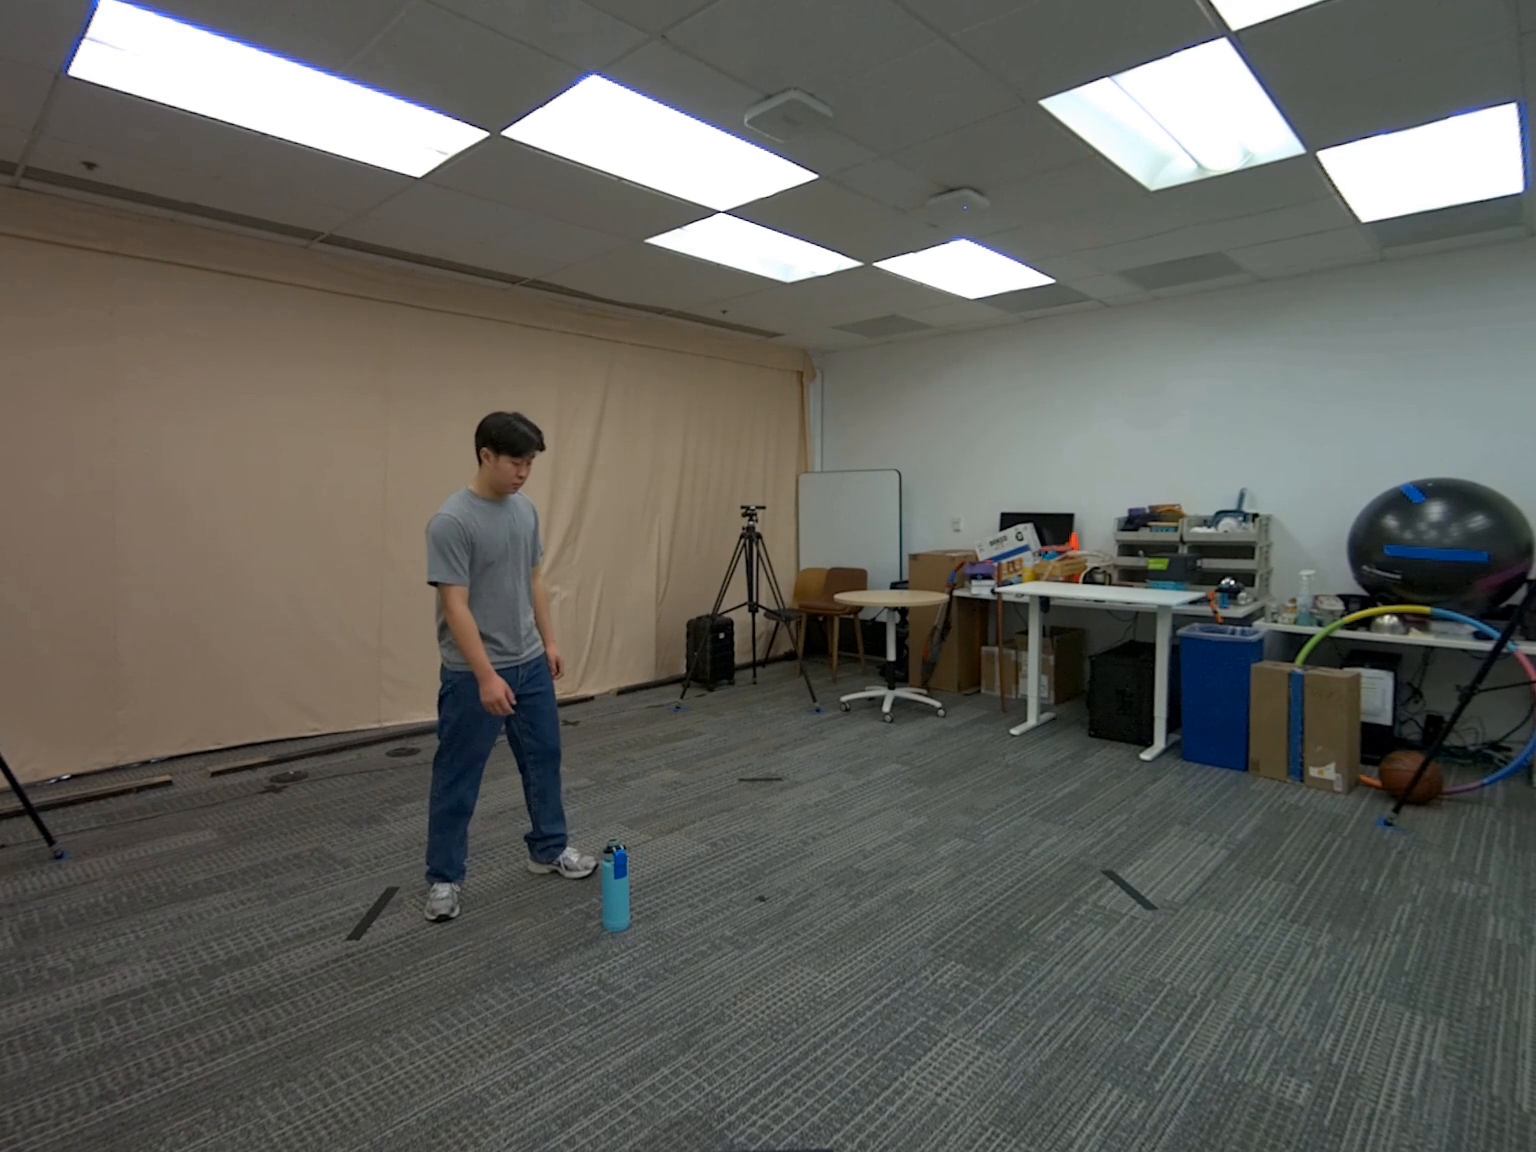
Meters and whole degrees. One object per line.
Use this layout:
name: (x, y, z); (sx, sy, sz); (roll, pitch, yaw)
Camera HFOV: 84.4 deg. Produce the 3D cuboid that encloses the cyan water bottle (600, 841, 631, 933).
cyan water bottle: (-0.504, 1.023, 2.788); (0.092, 0.283, 0.092); (1, 3, -2)
